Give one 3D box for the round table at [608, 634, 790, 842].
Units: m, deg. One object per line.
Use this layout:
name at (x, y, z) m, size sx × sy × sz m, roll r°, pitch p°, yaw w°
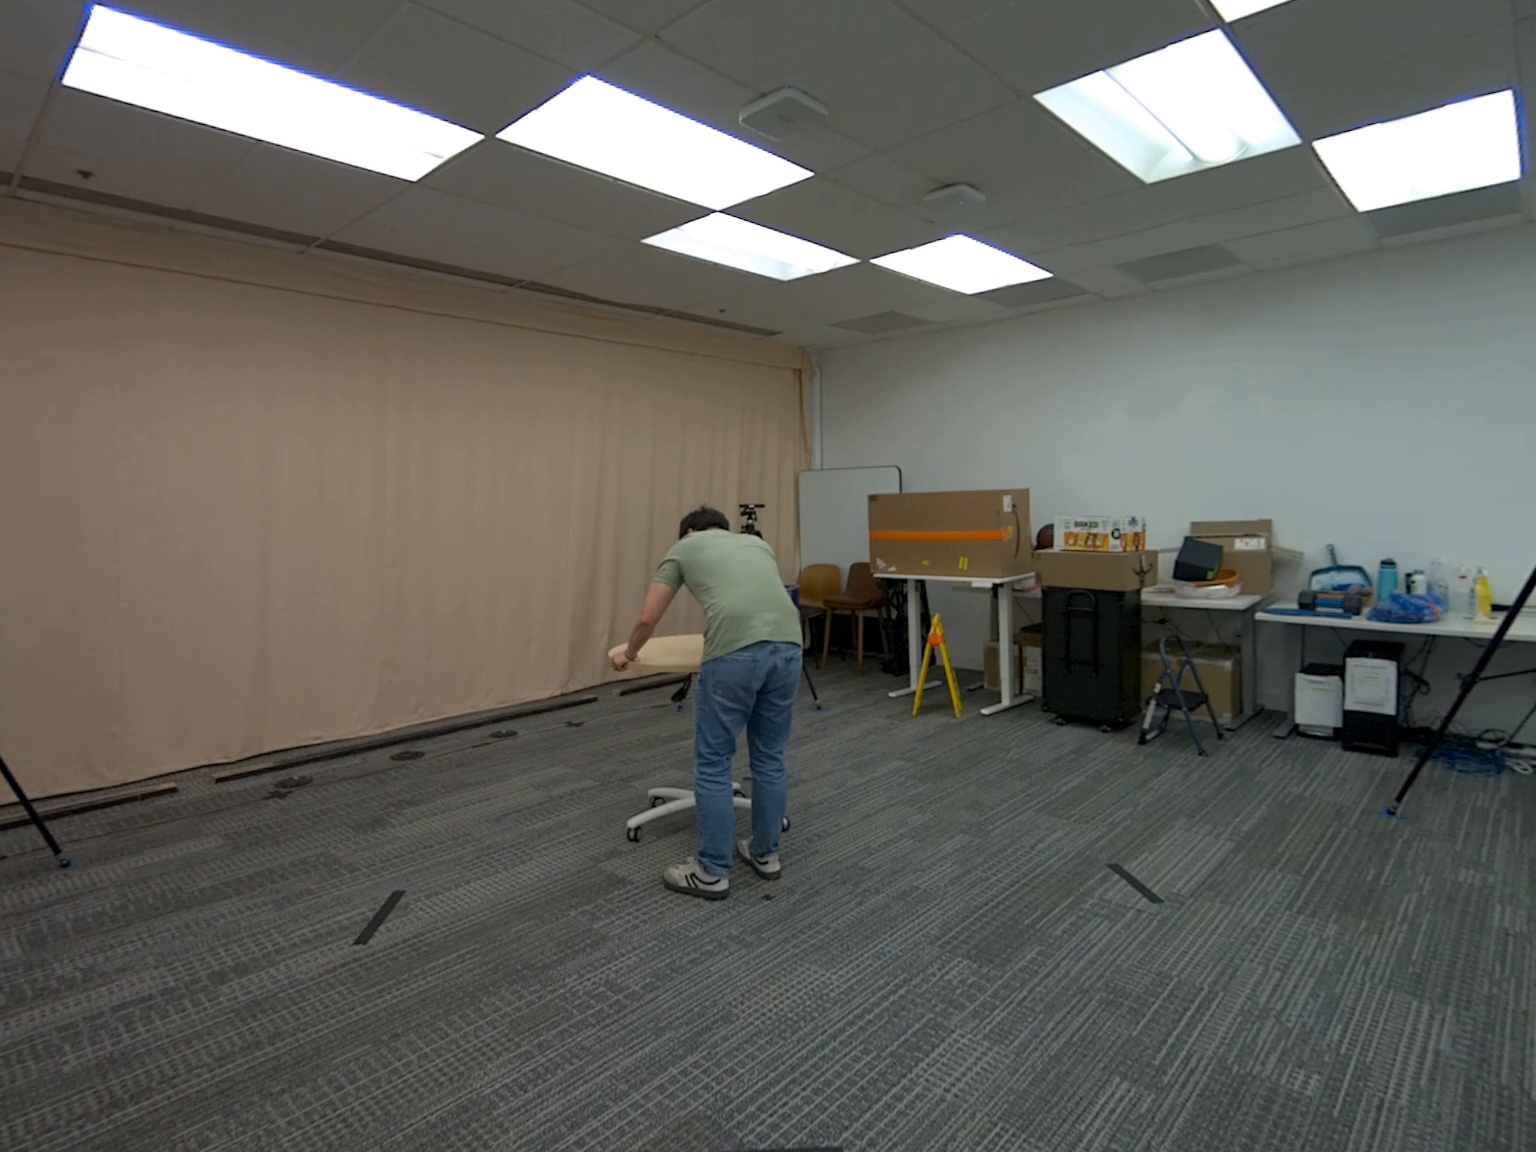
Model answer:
round table at (-0.287, 0.701, 3.636) m, size 0.763 × 0.792 × 0.766 m, roll -2°, pitch 4°, yaw -2°
